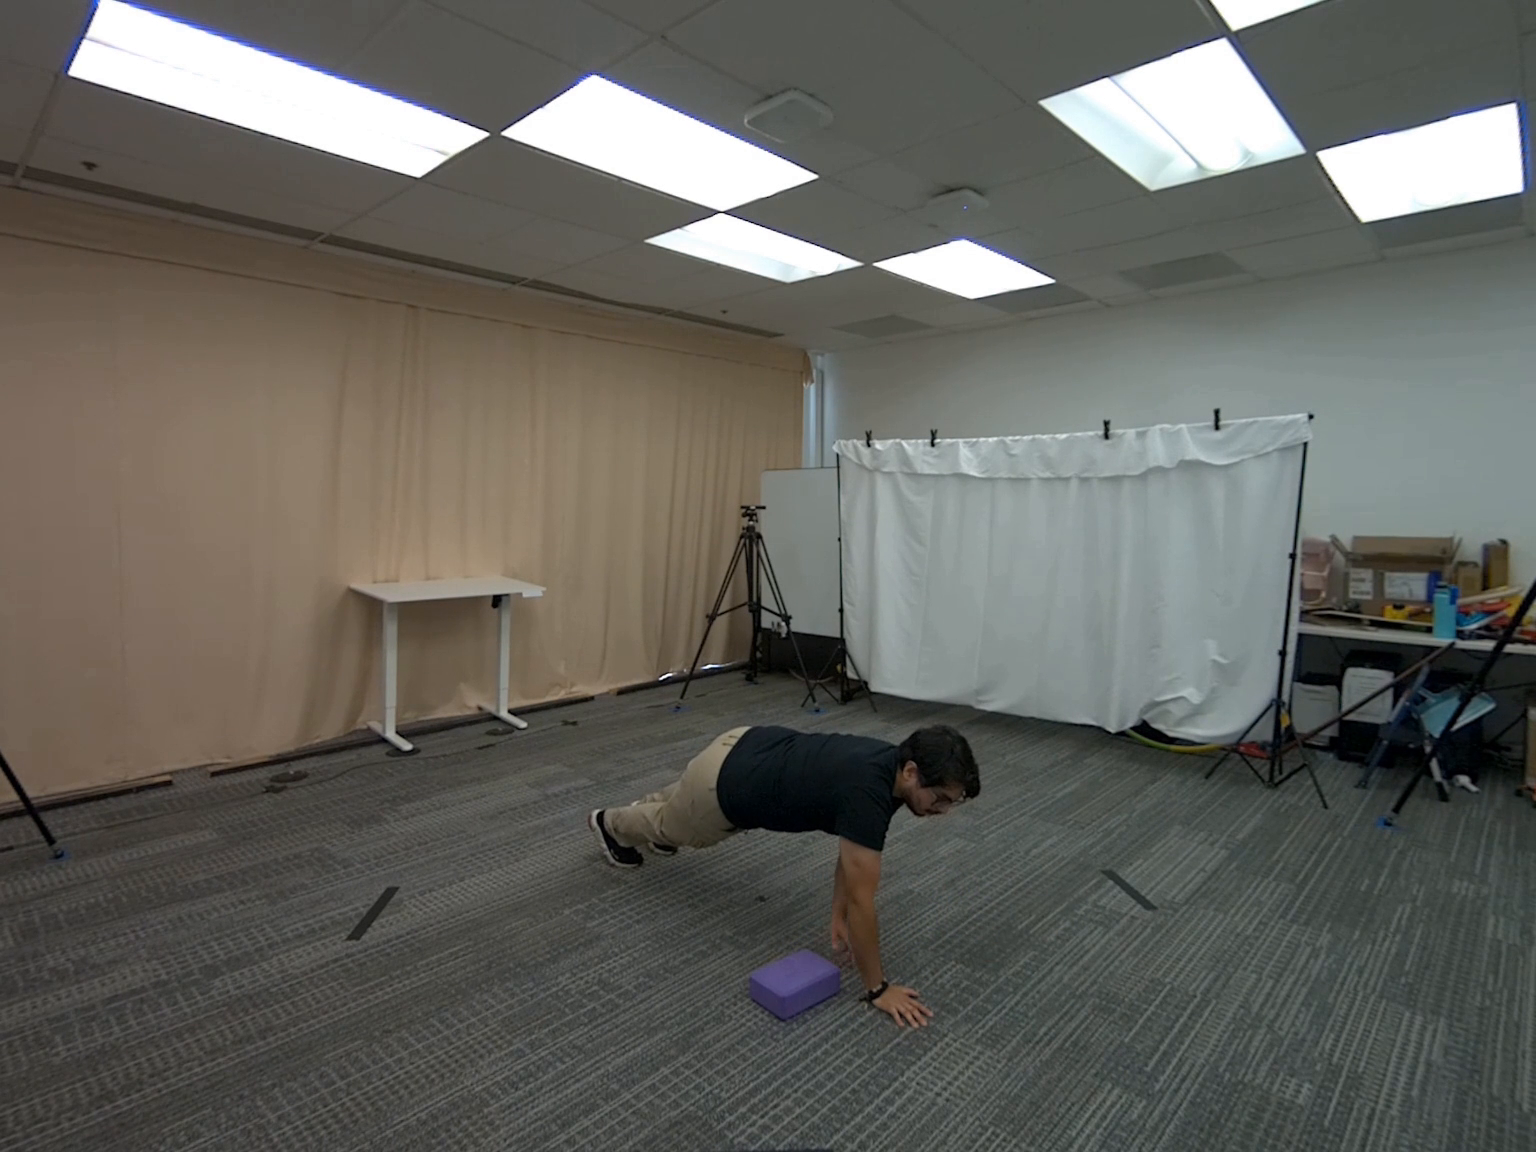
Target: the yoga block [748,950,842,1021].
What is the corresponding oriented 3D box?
[{"bbox_3d":[0.083,1.152,2.387,0.222,0.076,0.154,-4,6,-40],"label":"yoga block"}]
